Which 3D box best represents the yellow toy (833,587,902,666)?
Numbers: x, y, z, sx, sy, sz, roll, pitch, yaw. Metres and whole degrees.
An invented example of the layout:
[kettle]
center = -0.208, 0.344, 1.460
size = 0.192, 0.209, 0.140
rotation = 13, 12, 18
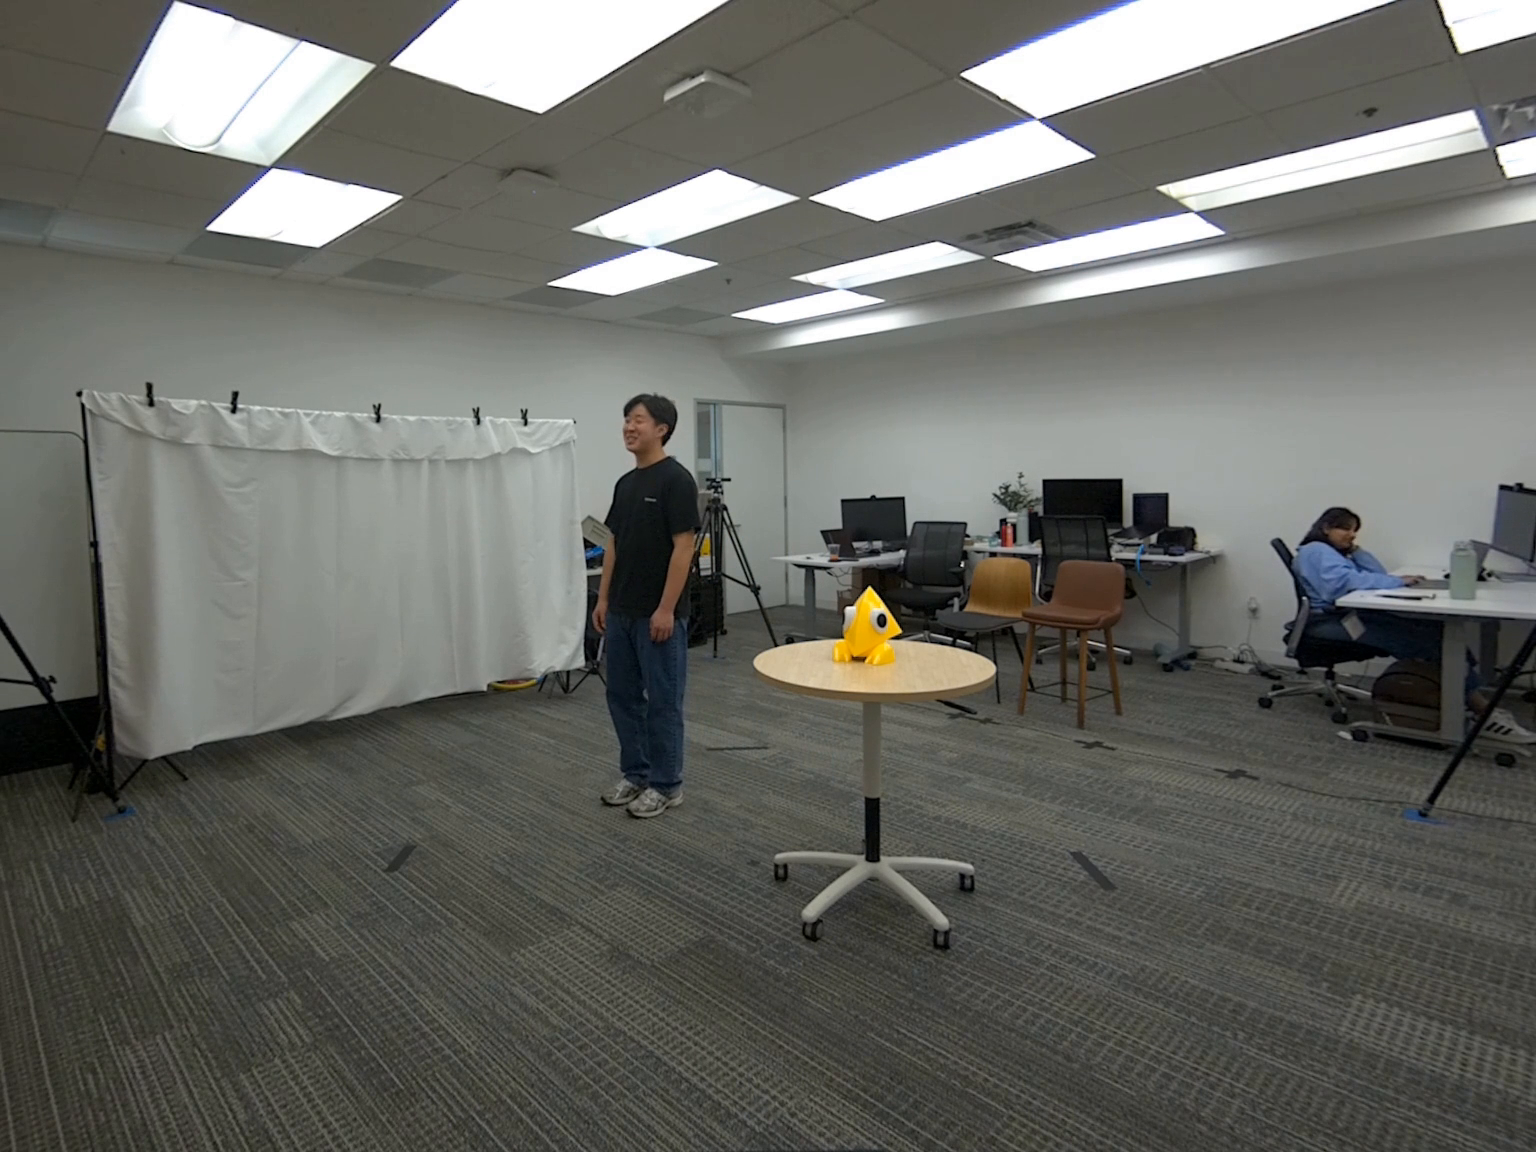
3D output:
[yellow toy]
center = 0.322, 0.158, 2.812
size = 0.210, 0.230, 0.189
rotation = 3, 5, 26
